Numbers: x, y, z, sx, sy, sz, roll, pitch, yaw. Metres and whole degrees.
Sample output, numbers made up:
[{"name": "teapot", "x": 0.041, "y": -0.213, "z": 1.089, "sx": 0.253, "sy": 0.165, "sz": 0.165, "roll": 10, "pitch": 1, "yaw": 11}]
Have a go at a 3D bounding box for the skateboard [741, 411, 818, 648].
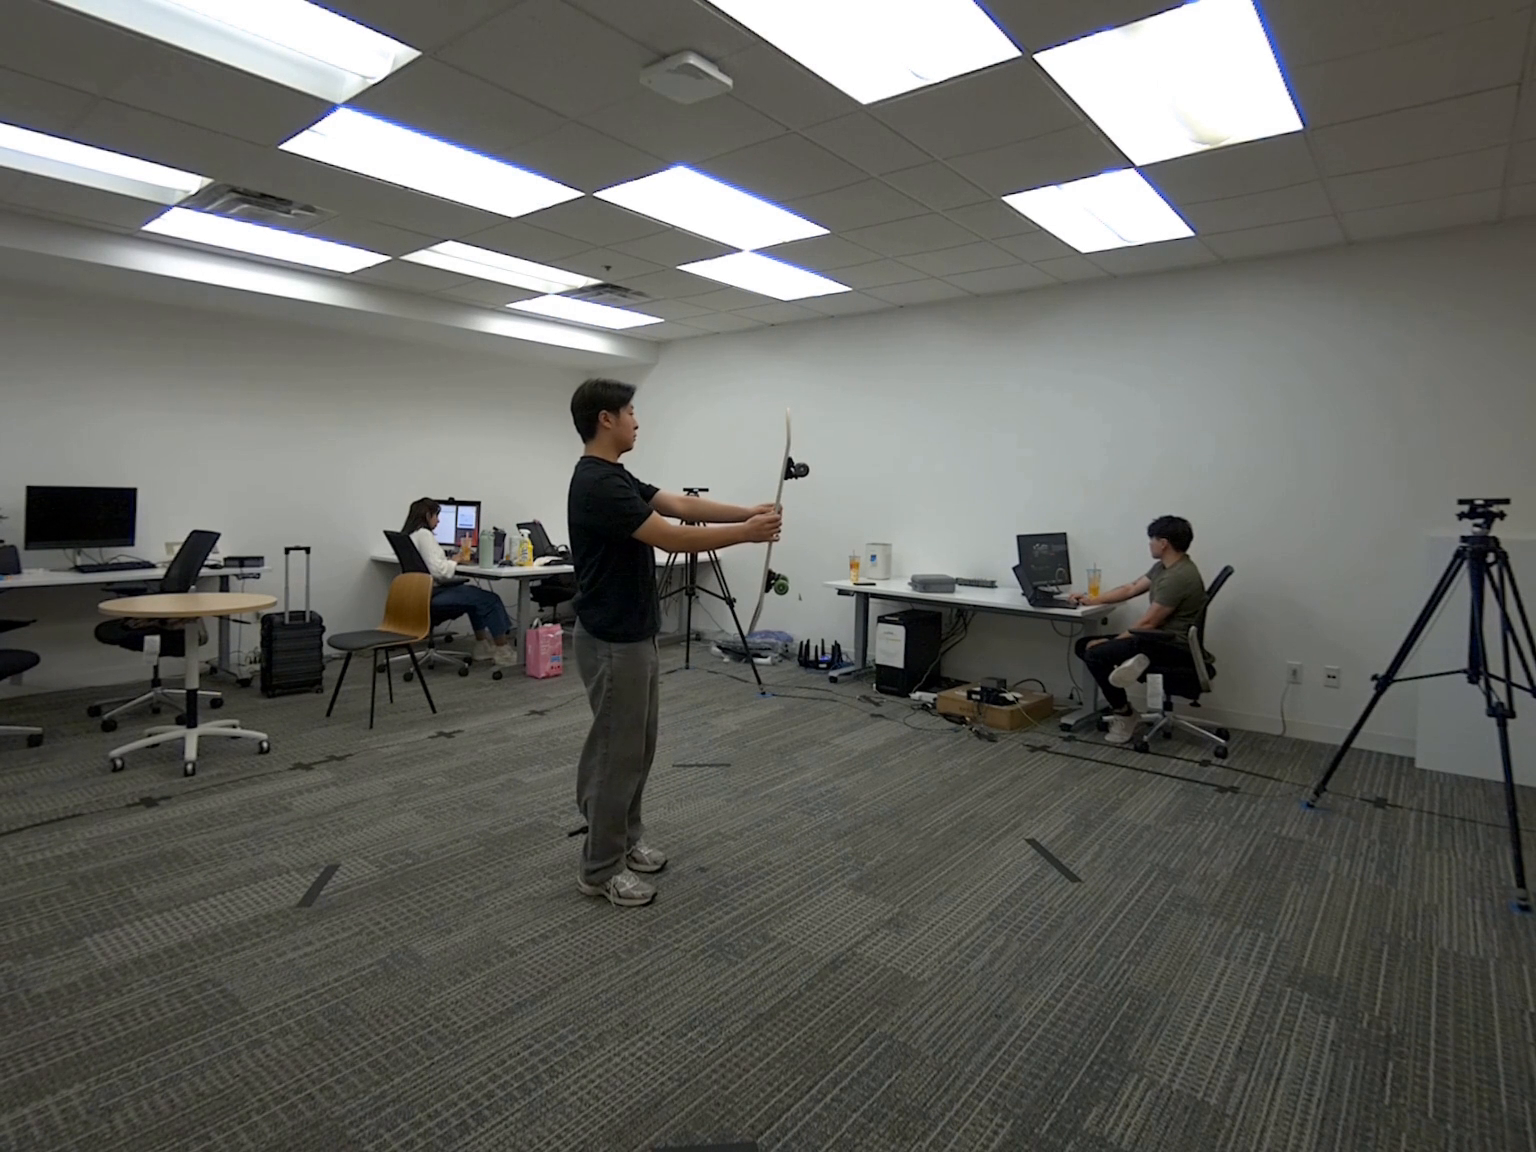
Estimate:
[{"name": "skateboard", "x": 0.038, "y": -0.168, "z": 2.903, "sx": 0.111, "sy": 0.781, "sz": 0.194, "roll": 11, "pitch": 7, "yaw": 1}]
